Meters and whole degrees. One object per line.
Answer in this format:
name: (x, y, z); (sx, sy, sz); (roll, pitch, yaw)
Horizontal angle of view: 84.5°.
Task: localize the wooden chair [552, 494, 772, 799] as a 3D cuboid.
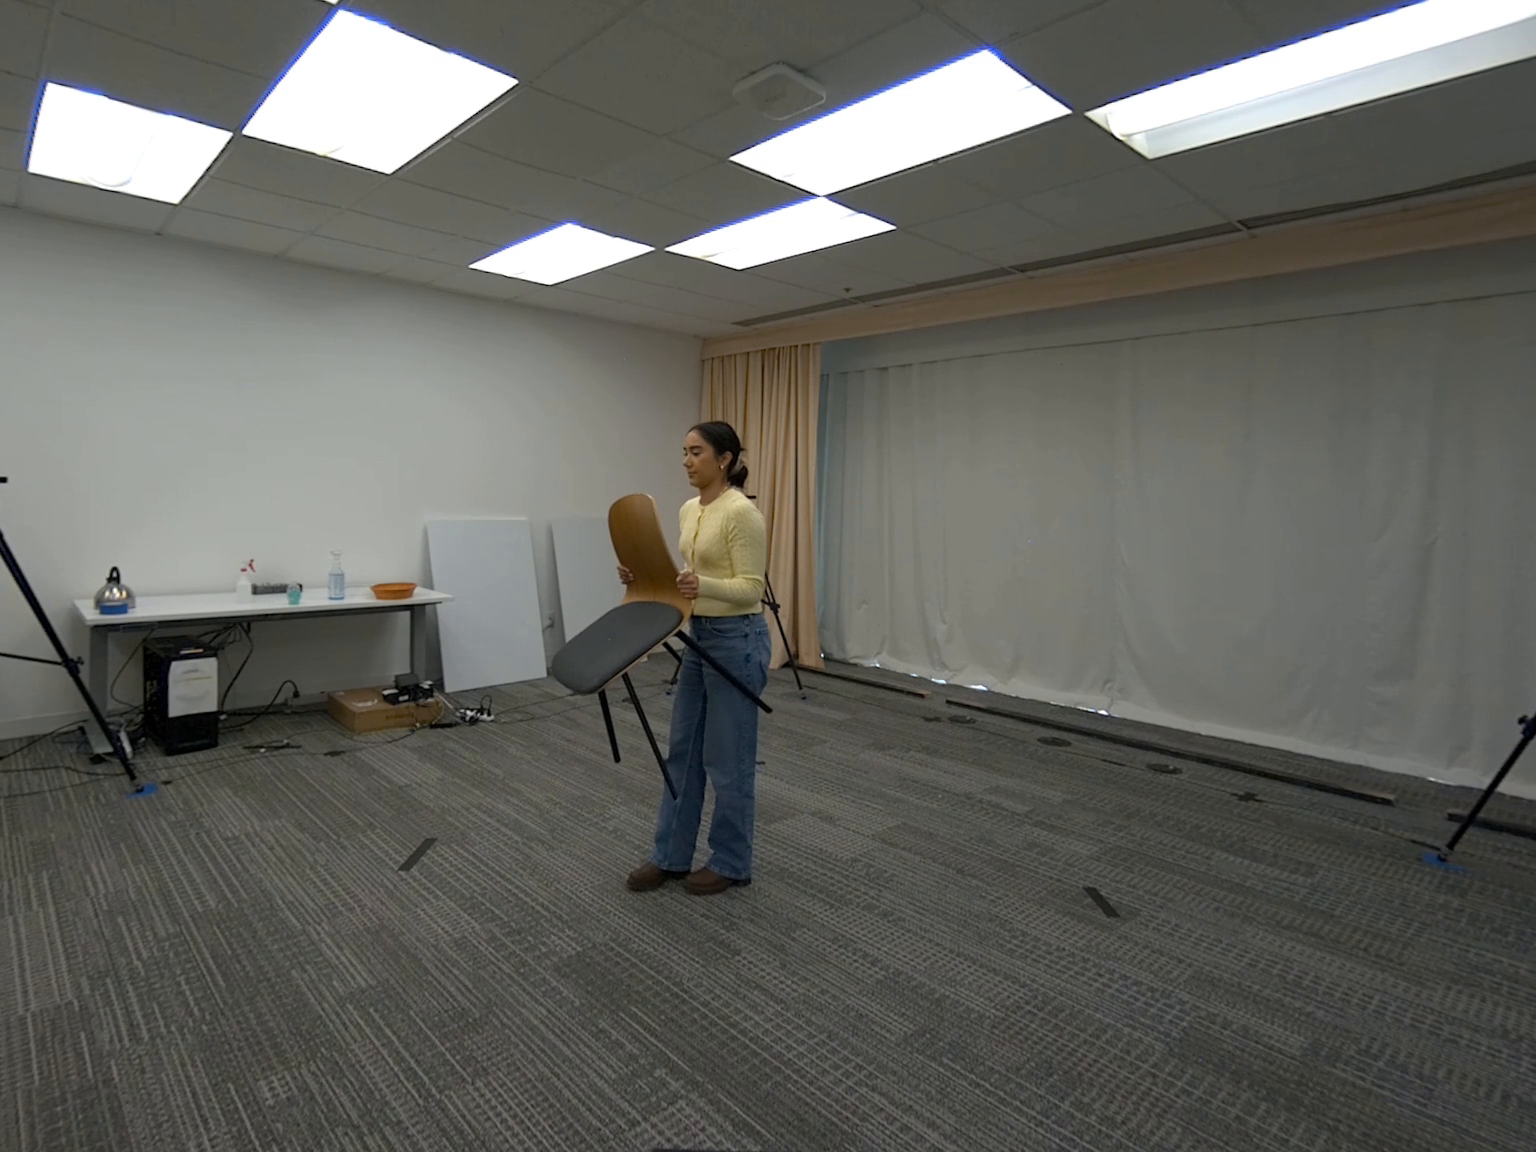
wooden chair: (-0.463, 0.230, 2.822); (0.519, 0.862, 0.490); (-33, 21, -28)
